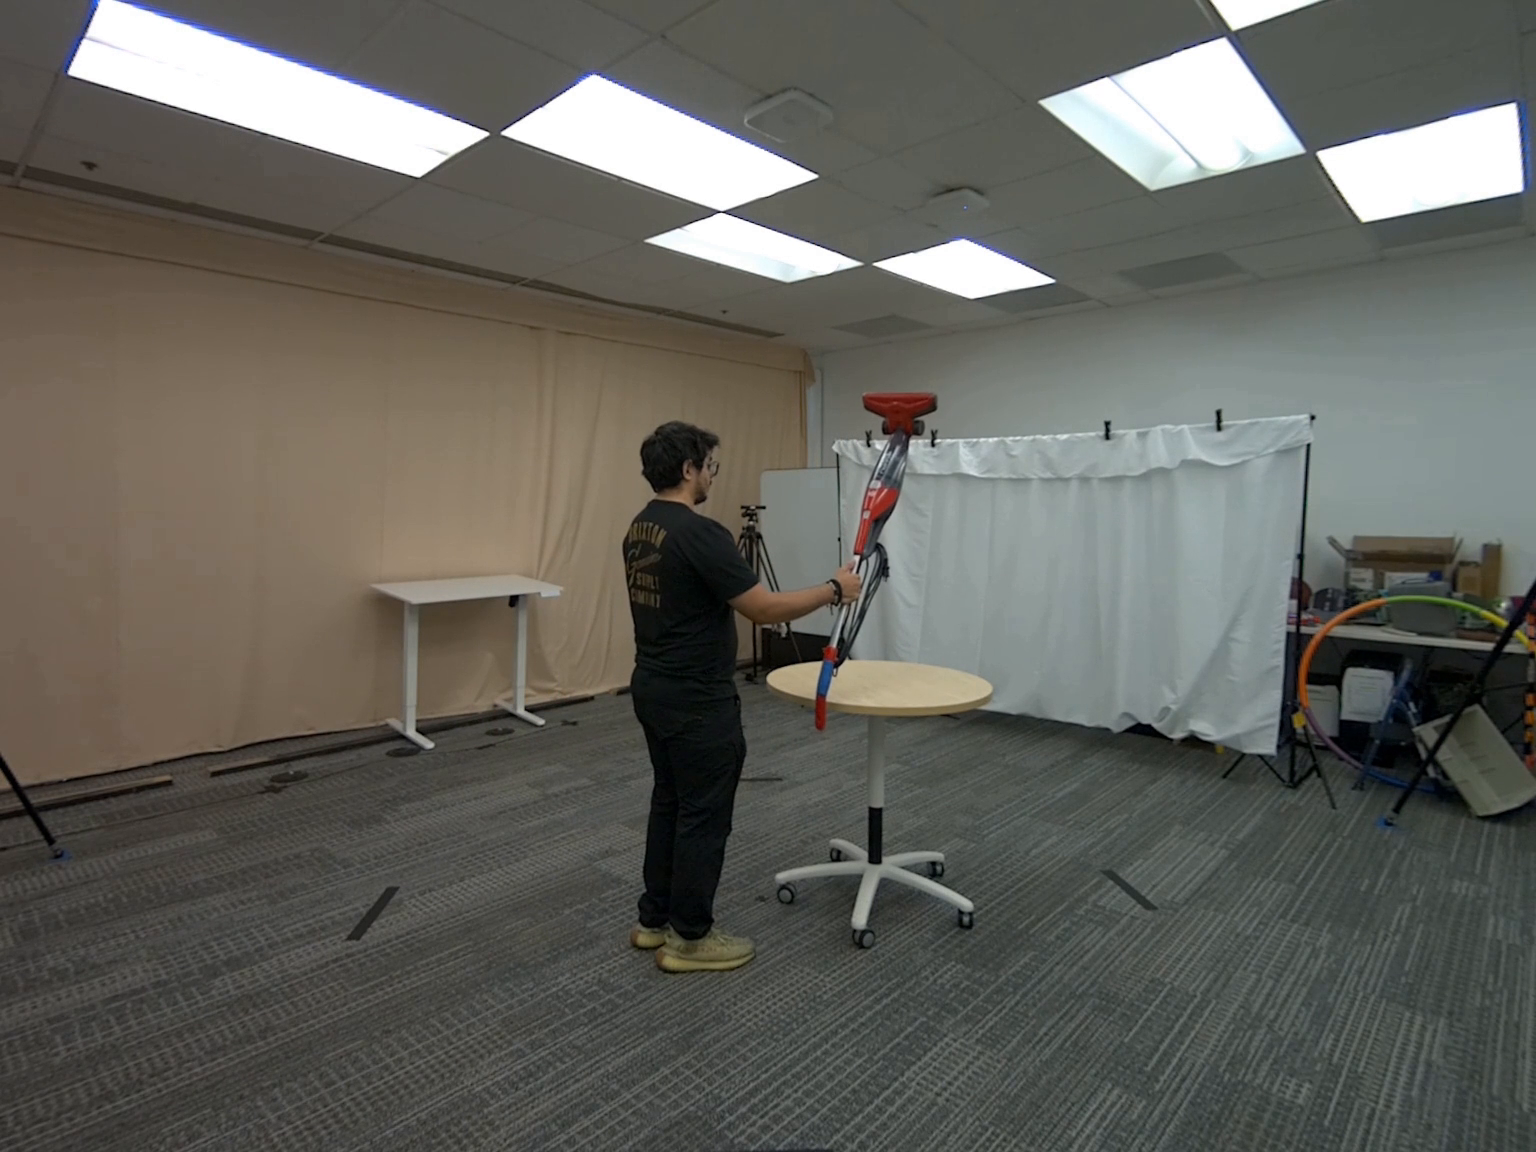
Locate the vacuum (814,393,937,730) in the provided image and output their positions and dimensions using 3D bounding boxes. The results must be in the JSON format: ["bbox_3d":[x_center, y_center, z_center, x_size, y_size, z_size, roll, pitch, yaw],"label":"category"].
[{"bbox_3d":[0.309,-0.053,2.637,0.261,1.053,0.139,7,-15,37],"label":"vacuum"}]
